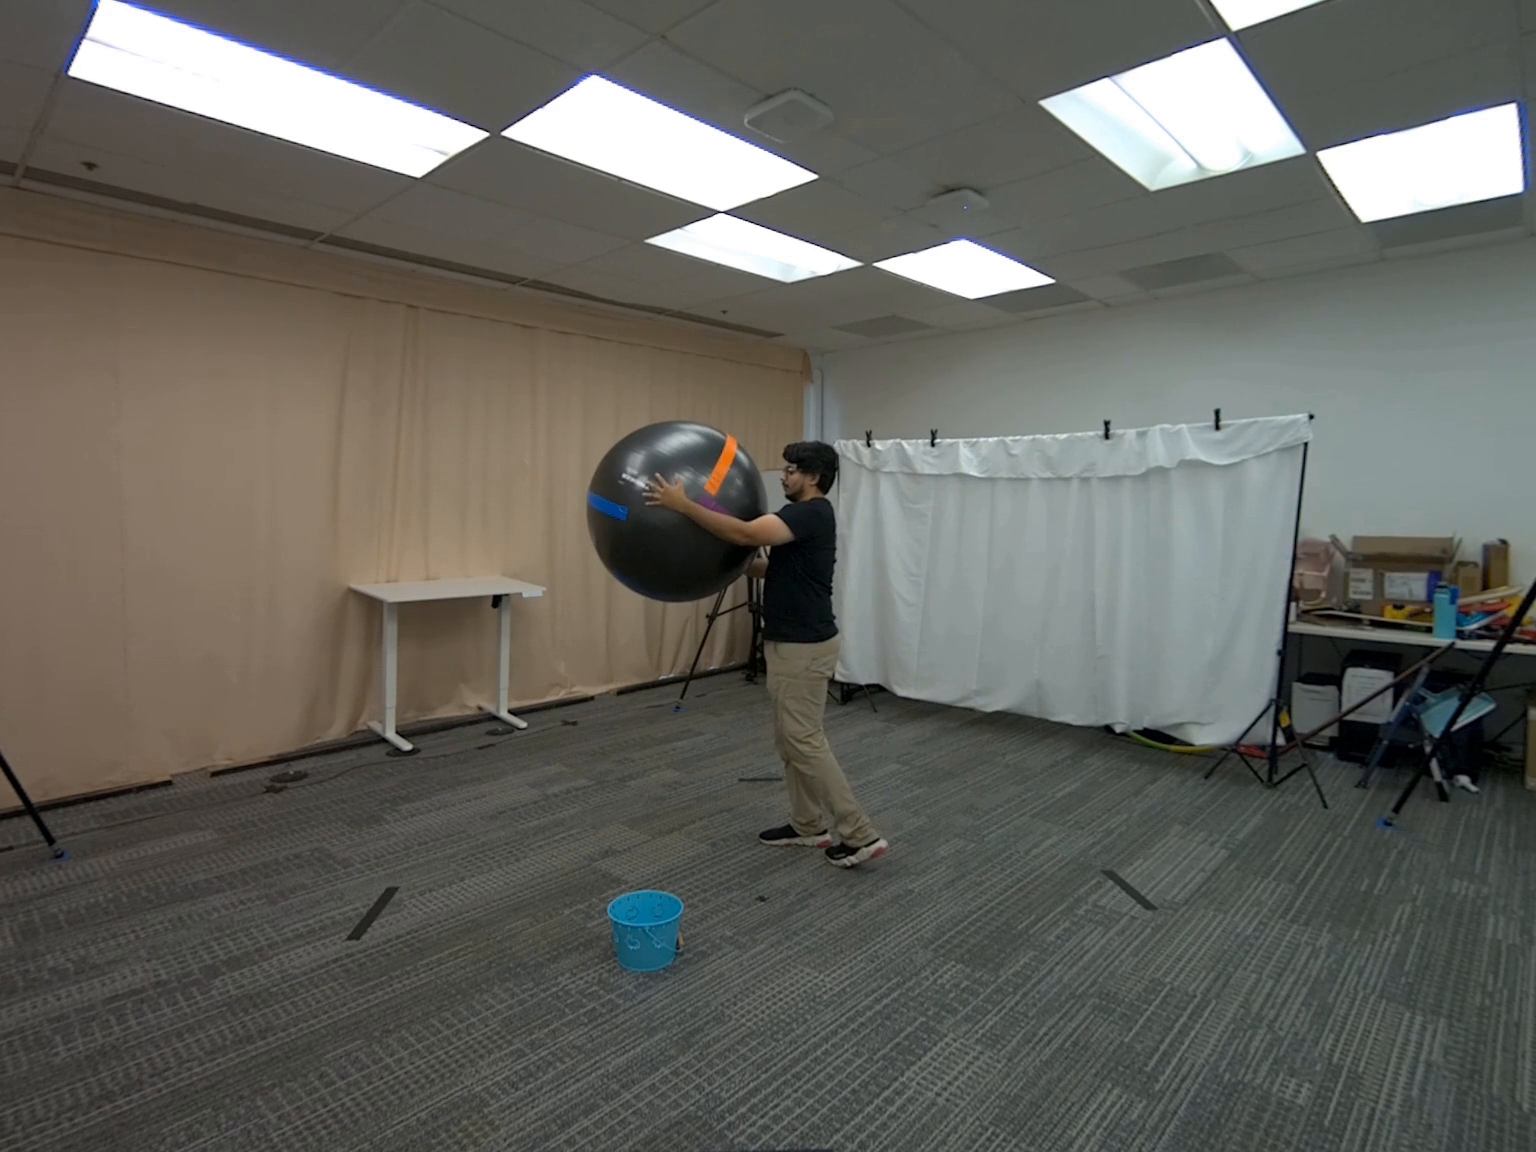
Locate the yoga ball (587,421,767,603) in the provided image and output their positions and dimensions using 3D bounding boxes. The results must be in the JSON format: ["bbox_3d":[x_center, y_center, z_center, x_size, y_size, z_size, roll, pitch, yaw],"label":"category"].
[{"bbox_3d":[-0.382,-0.265,3.532,0.757,0.756,0.760,0,4,-2],"label":"yoga ball"}]
